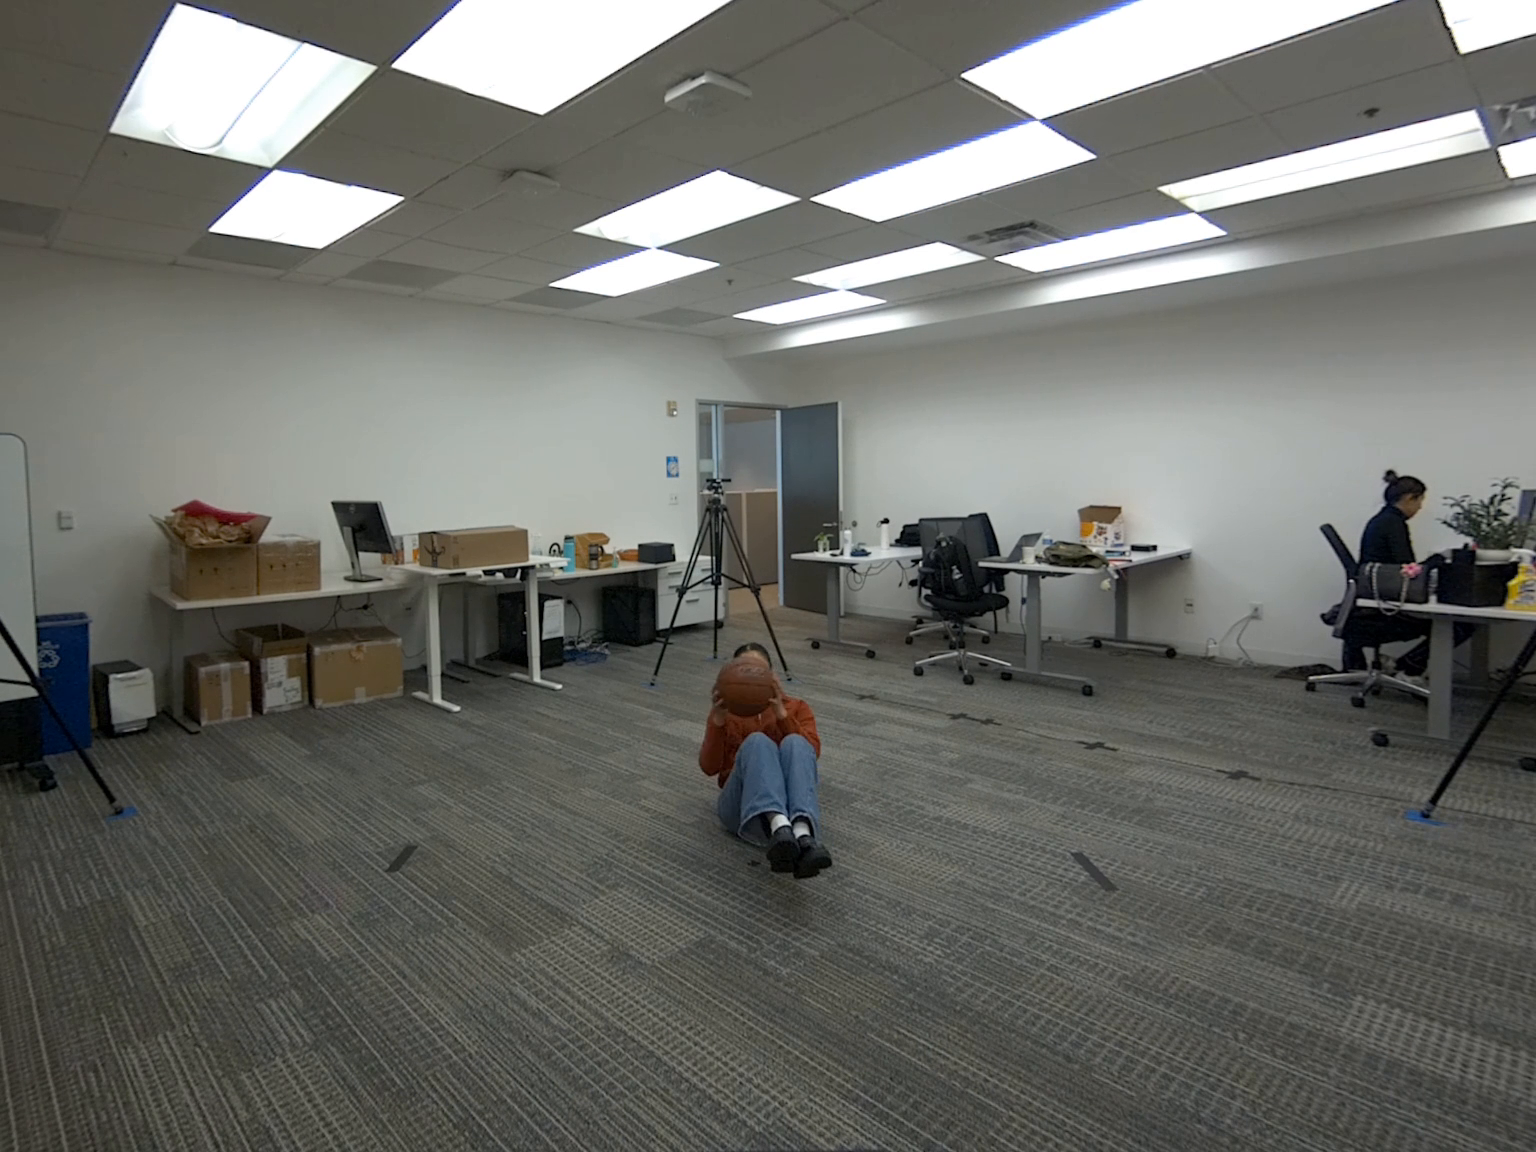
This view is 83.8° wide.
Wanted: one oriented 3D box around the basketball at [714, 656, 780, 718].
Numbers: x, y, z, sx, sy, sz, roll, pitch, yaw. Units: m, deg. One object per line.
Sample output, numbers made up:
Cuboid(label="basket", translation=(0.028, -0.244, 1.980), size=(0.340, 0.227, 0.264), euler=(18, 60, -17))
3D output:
Cuboid(label="basketball", translation=(-0.087, 0.459, 3.357), size=(0.236, 0.235, 0.237), euler=(-1, 5, -2))
